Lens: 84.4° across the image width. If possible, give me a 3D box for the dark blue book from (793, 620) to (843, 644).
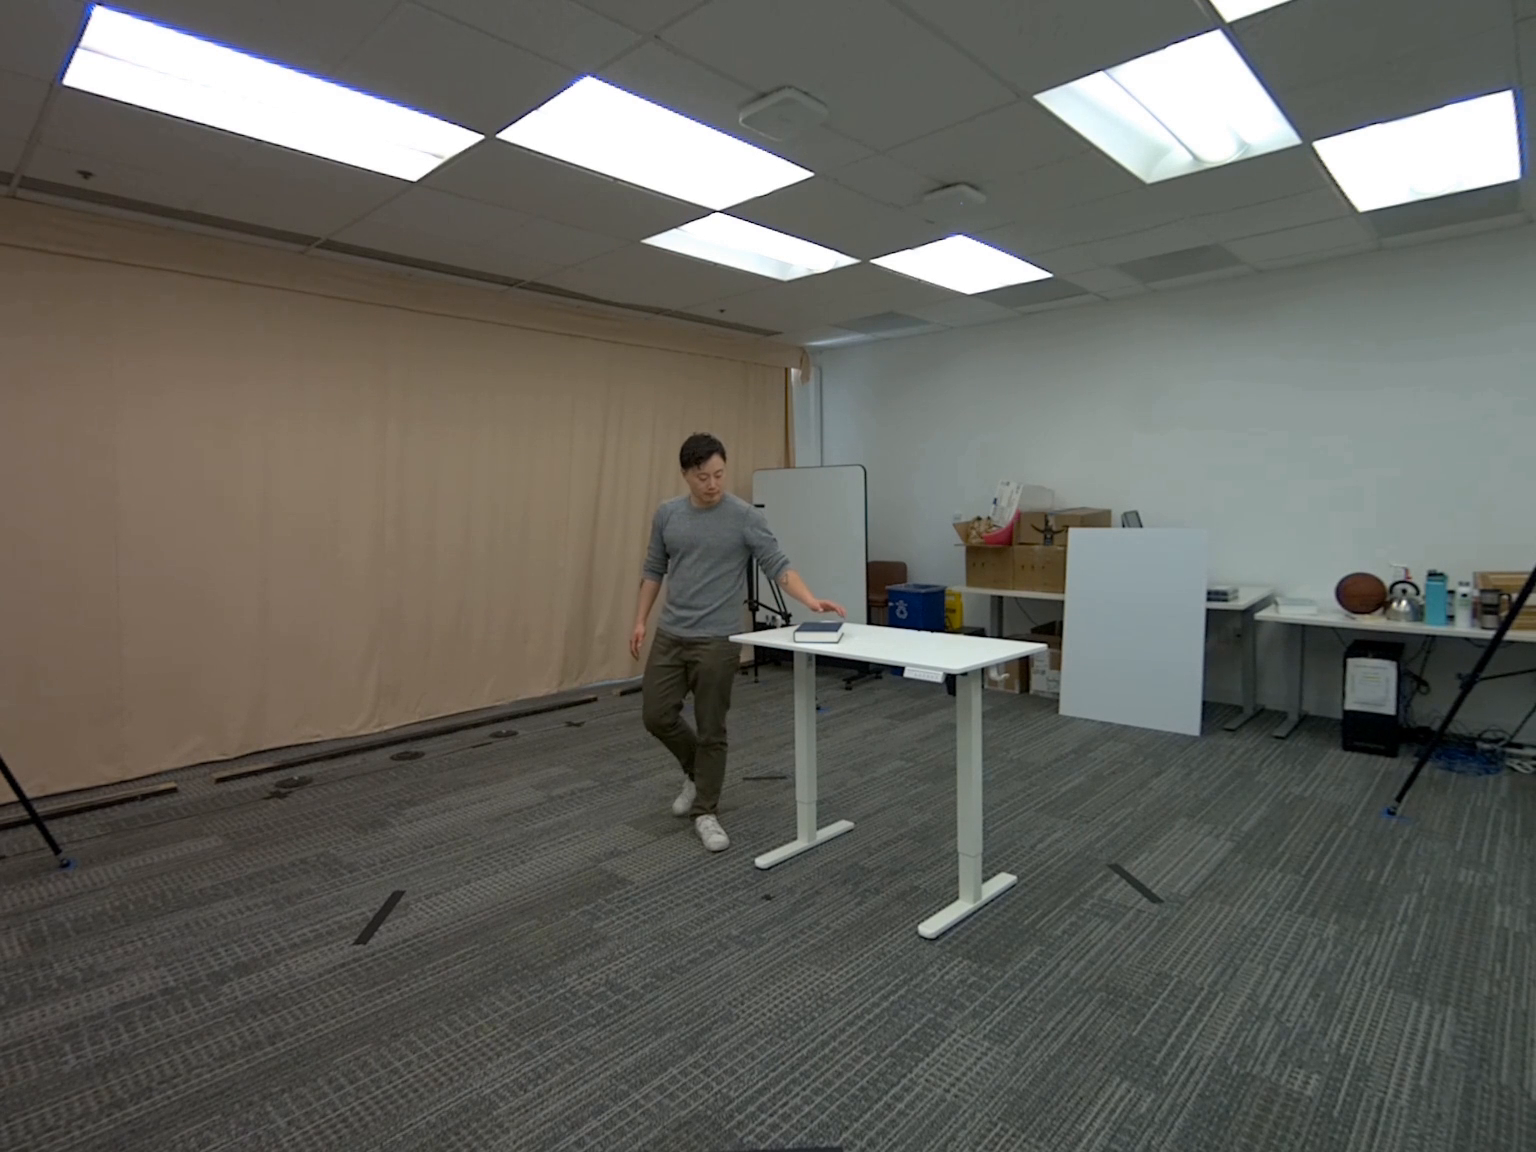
[{"bbox_3d":[0.198,0.214,3.203,0.166,0.045,0.242,-1,4,13],"label":"dark blue book"}]
